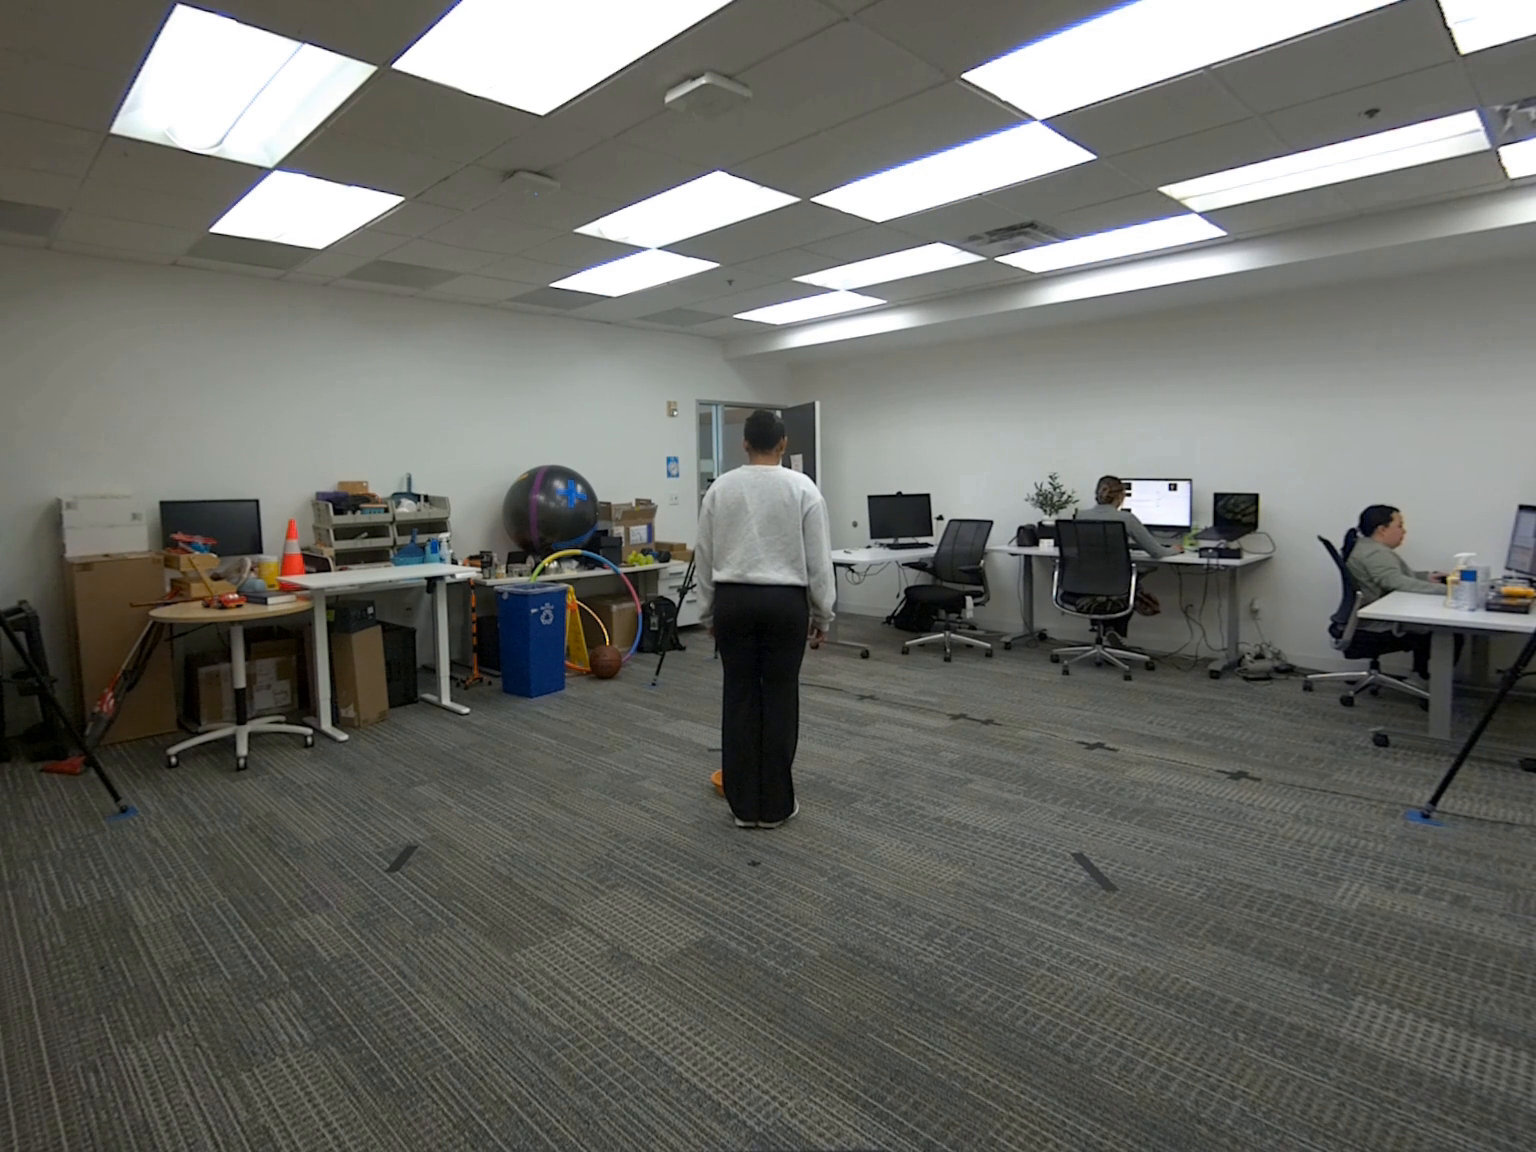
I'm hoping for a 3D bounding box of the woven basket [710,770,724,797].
[{"bbox_3d":[-0.076,0.930,3.810,0.356,0.073,0.249,1,6,17],"label":"woven basket"}]
